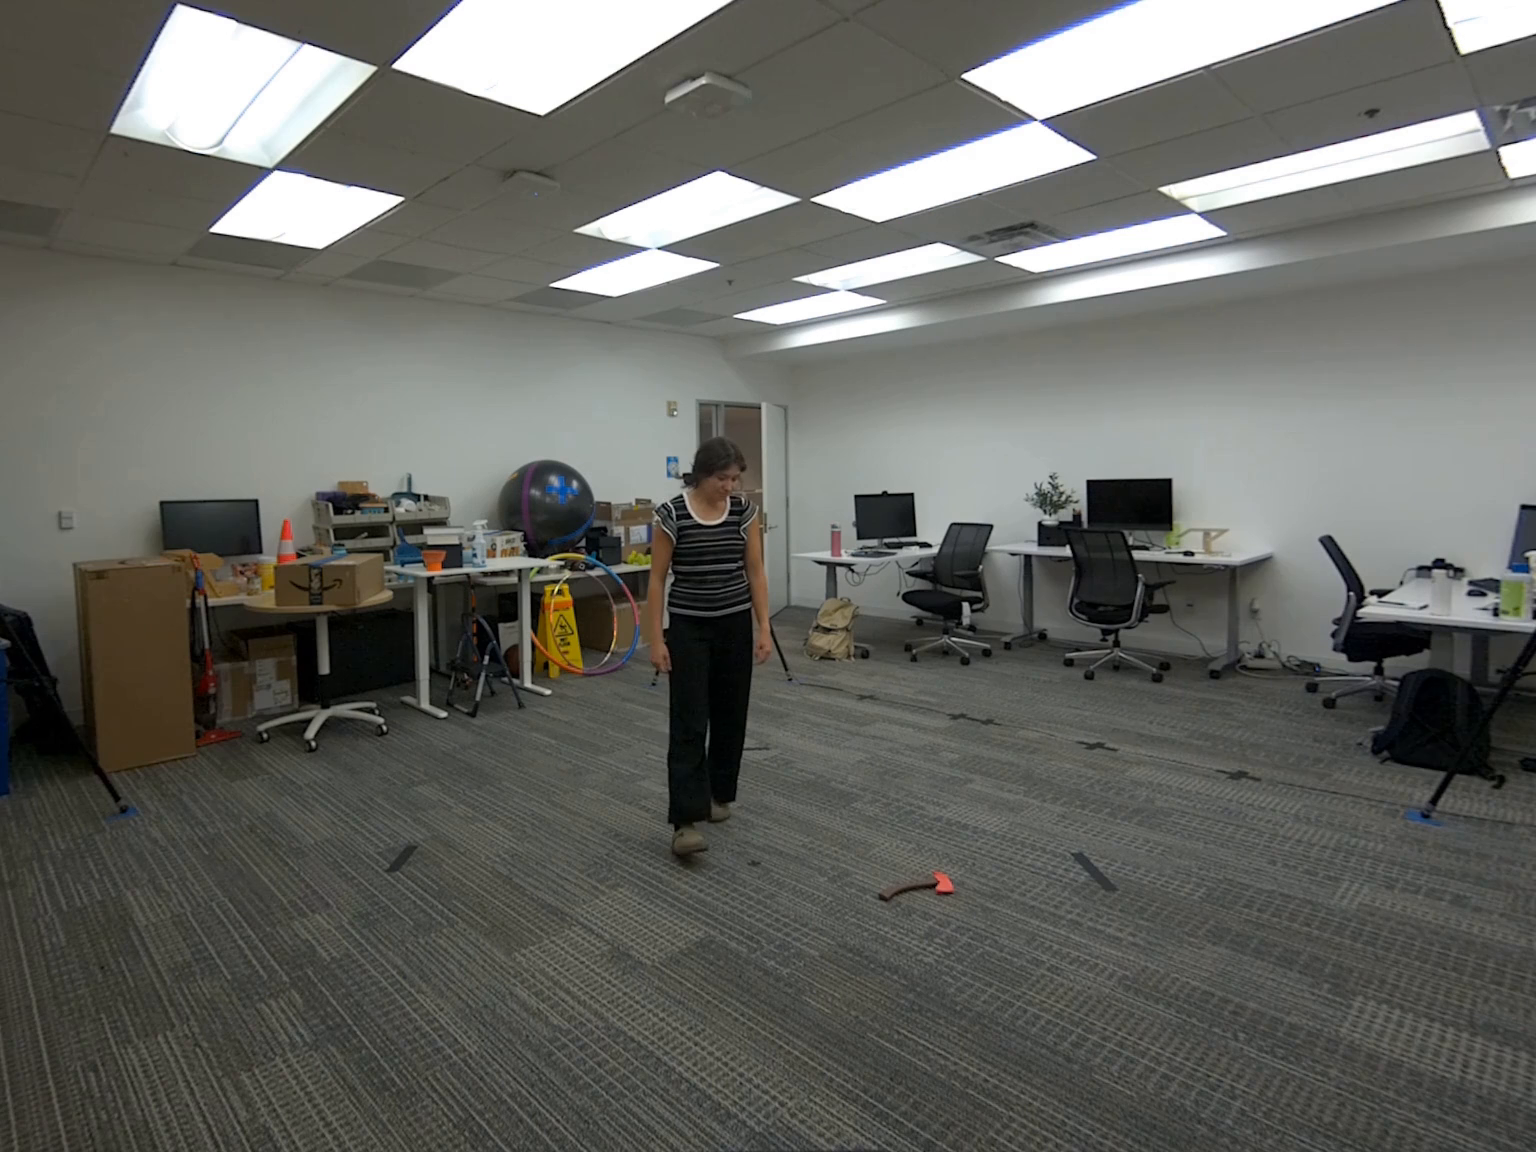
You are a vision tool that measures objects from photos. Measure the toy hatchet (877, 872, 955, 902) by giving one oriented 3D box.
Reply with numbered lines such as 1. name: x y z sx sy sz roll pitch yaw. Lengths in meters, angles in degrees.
1. toy hatchet: 0.510 1.049 2.856 0.264 0.029 0.135 -9 12 -33
